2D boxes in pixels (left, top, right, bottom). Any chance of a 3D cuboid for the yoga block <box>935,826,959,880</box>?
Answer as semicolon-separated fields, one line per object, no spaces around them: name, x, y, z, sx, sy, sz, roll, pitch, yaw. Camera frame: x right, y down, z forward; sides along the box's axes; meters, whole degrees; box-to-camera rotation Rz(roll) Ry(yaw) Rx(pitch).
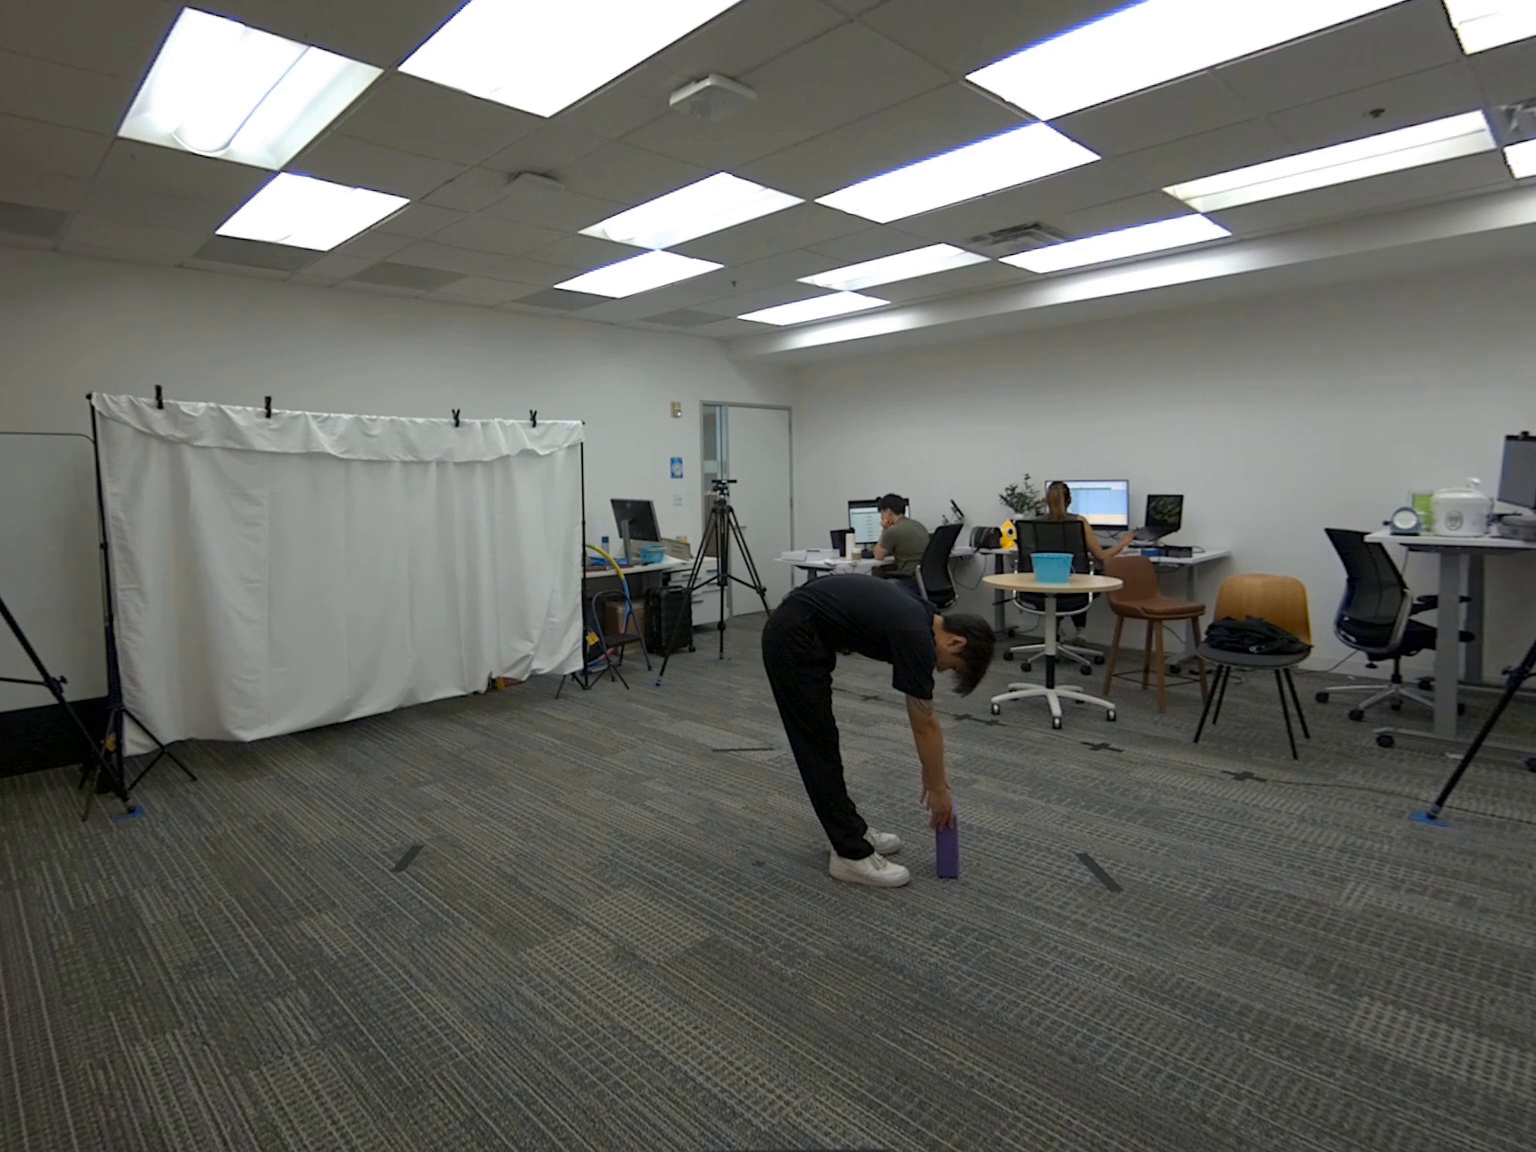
yoga block;0.632;0.925;3.025;0.077;0.228;0.148;0;5;9
